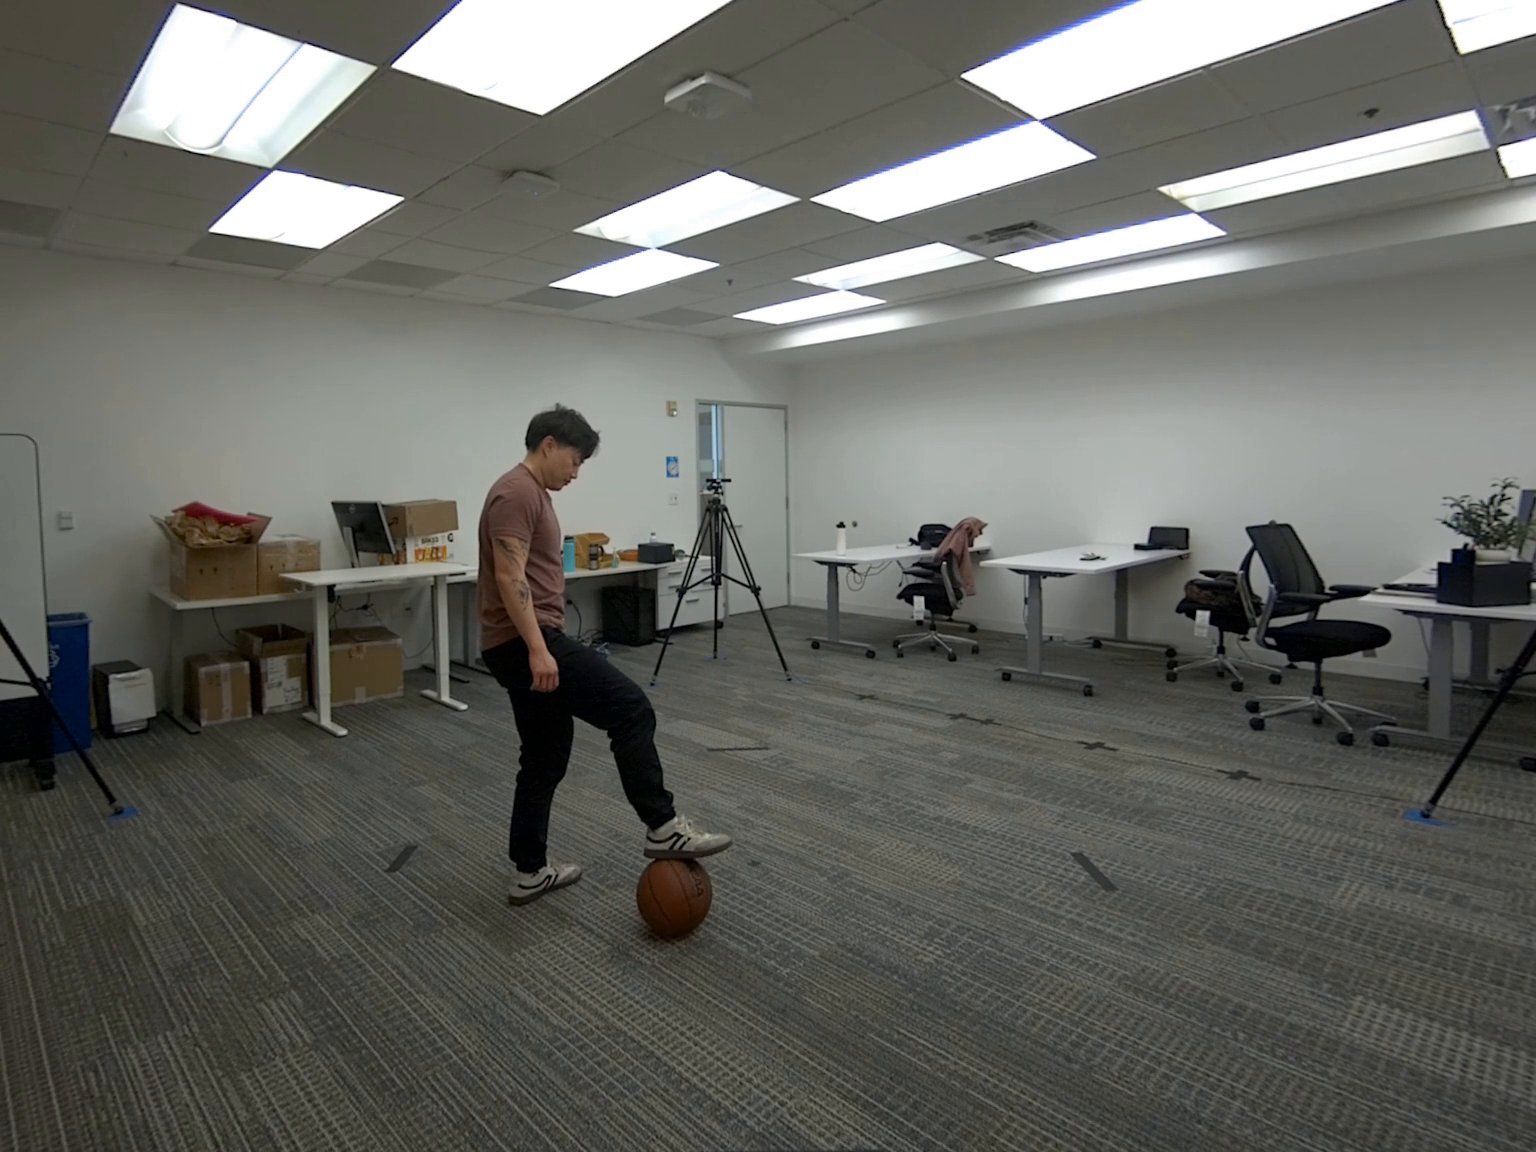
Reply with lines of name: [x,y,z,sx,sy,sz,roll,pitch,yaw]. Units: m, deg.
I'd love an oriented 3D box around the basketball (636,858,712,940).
basketball: [-0.289,0.992,2.657,0.236,0.235,0.237,-1,5,-2]
